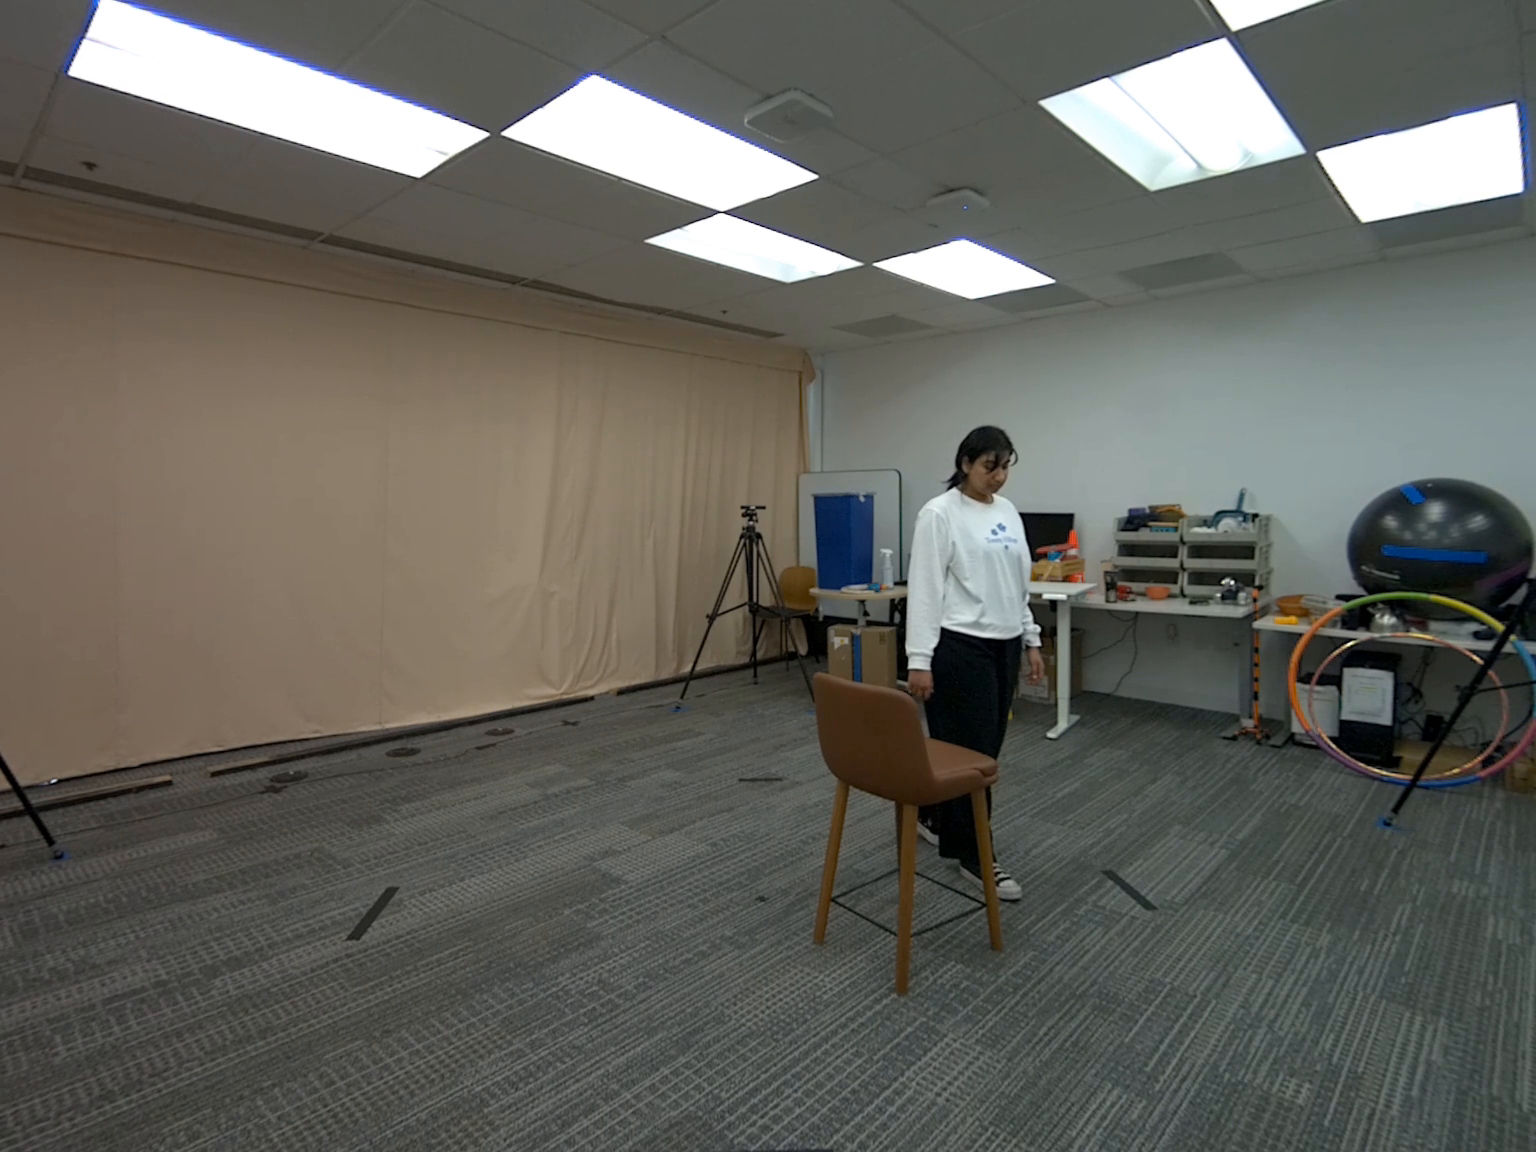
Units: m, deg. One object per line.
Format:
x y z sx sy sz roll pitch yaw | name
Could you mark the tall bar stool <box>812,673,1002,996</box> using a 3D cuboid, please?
0.439 0.737 2.643 0.454 0.887 0.471 -5 5 -38 | tall bar stool
